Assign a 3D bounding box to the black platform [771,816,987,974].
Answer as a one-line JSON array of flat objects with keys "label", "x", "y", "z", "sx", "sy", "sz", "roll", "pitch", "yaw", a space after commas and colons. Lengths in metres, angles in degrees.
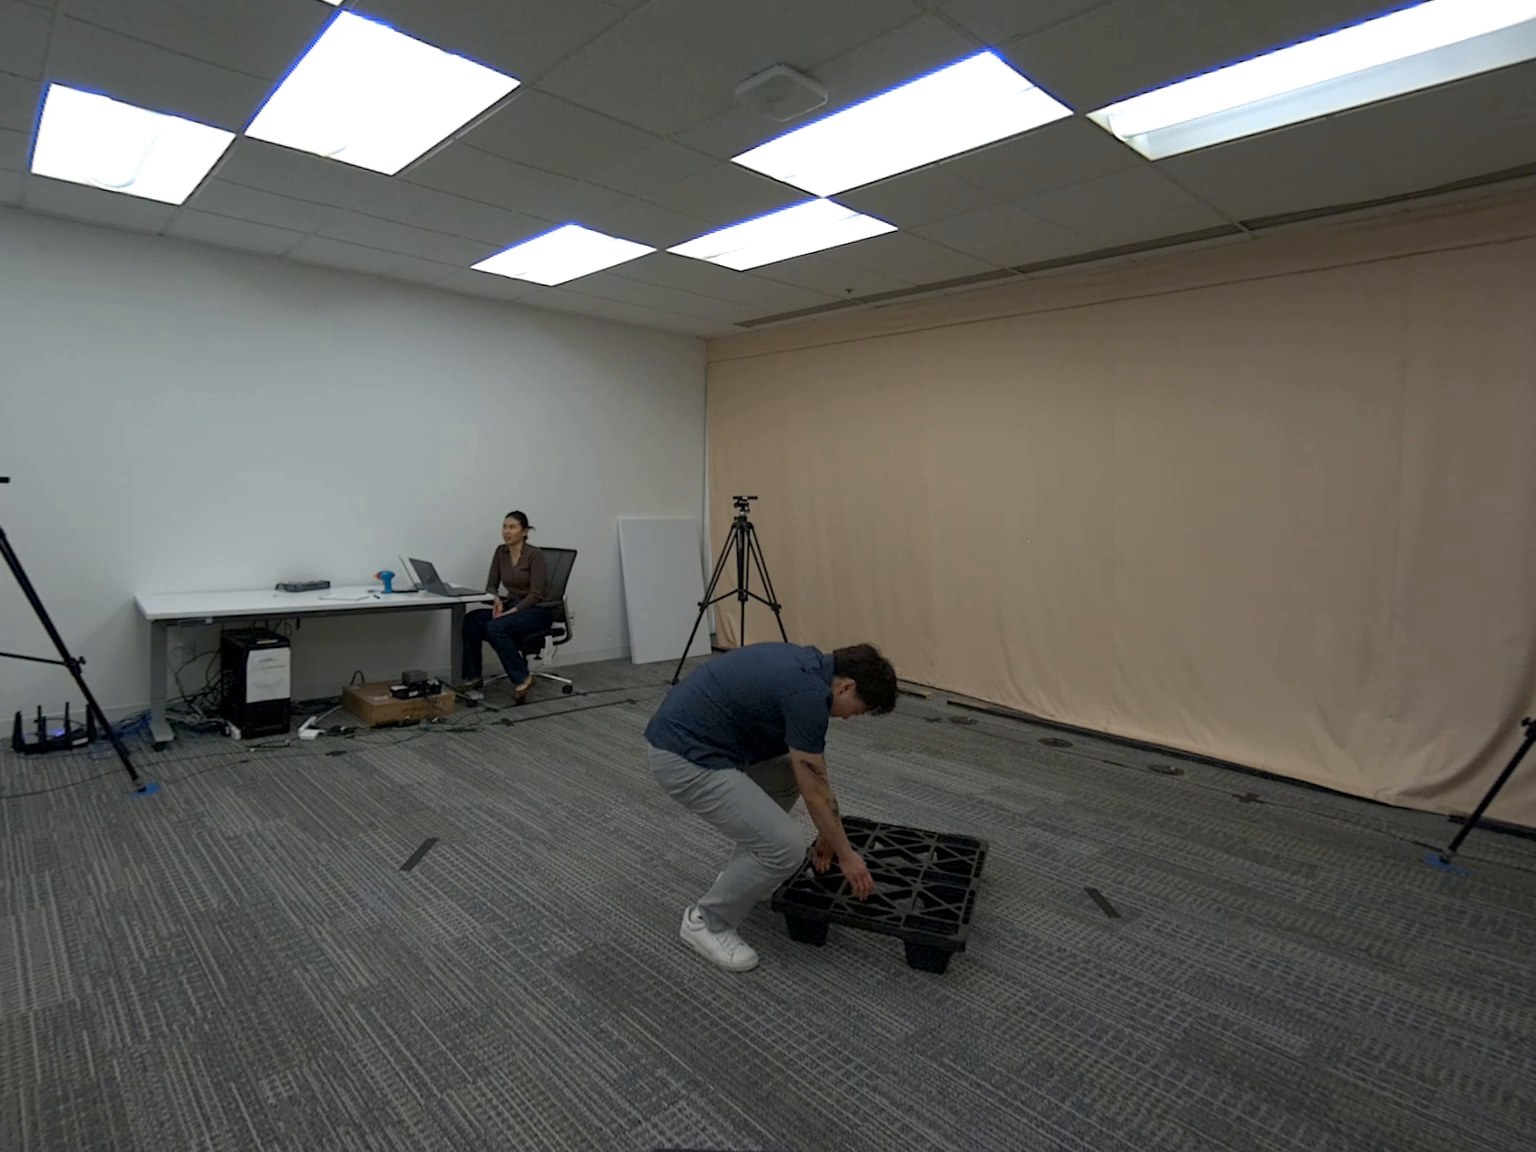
[{"label": "black platform", "x": 0.406, "y": 1.067, "z": 2.896, "sx": 0.615, "sy": 0.143, "sz": 0.794, "roll": 3, "pitch": 5, "yaw": 20}]
